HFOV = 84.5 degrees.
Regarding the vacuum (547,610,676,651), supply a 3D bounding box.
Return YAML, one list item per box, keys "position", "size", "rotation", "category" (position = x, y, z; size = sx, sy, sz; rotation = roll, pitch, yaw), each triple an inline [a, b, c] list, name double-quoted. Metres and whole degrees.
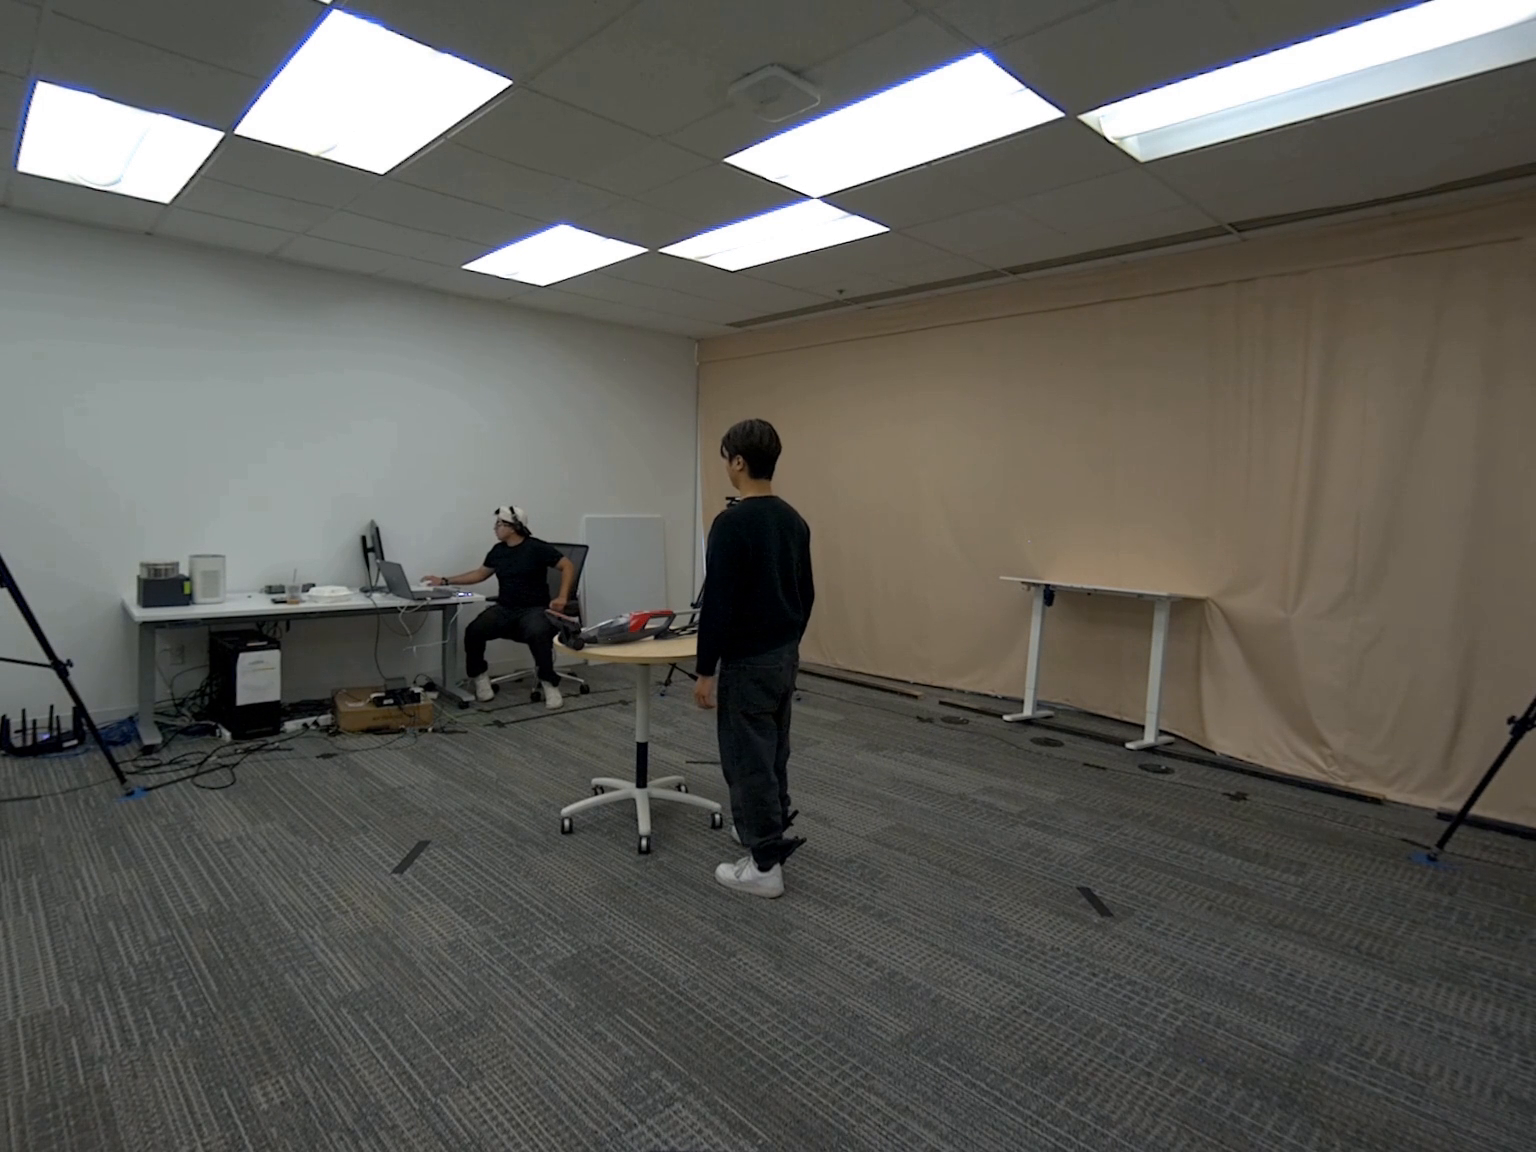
- position: [-0.420, 0.215, 3.654]
  size: [1.026, 0.143, 0.259]
  rotation: [-2, 10, -38]
  category: "vacuum"
